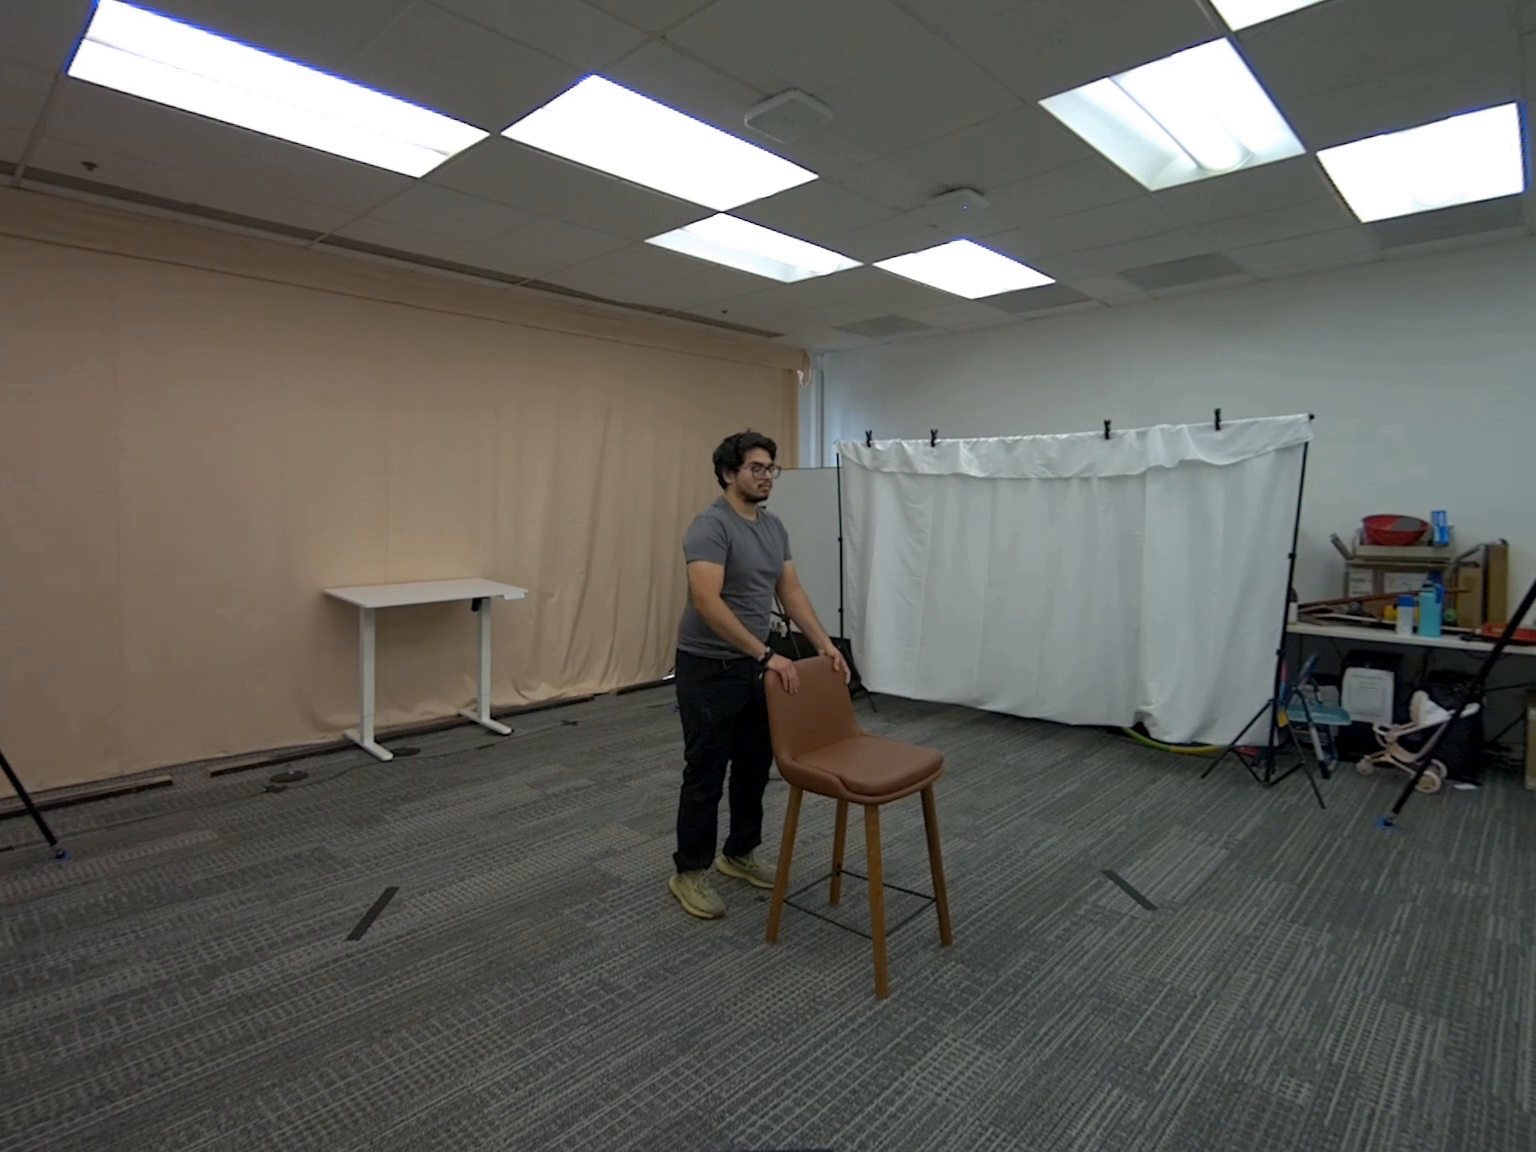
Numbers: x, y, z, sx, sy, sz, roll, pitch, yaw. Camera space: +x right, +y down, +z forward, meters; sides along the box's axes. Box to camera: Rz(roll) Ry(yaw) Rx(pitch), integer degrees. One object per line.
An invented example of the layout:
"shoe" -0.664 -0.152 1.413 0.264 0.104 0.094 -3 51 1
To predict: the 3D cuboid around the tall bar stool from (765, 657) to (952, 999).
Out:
"tall bar stool" 0.278 0.731 2.660 0.483 0.888 0.442 1 3 42
